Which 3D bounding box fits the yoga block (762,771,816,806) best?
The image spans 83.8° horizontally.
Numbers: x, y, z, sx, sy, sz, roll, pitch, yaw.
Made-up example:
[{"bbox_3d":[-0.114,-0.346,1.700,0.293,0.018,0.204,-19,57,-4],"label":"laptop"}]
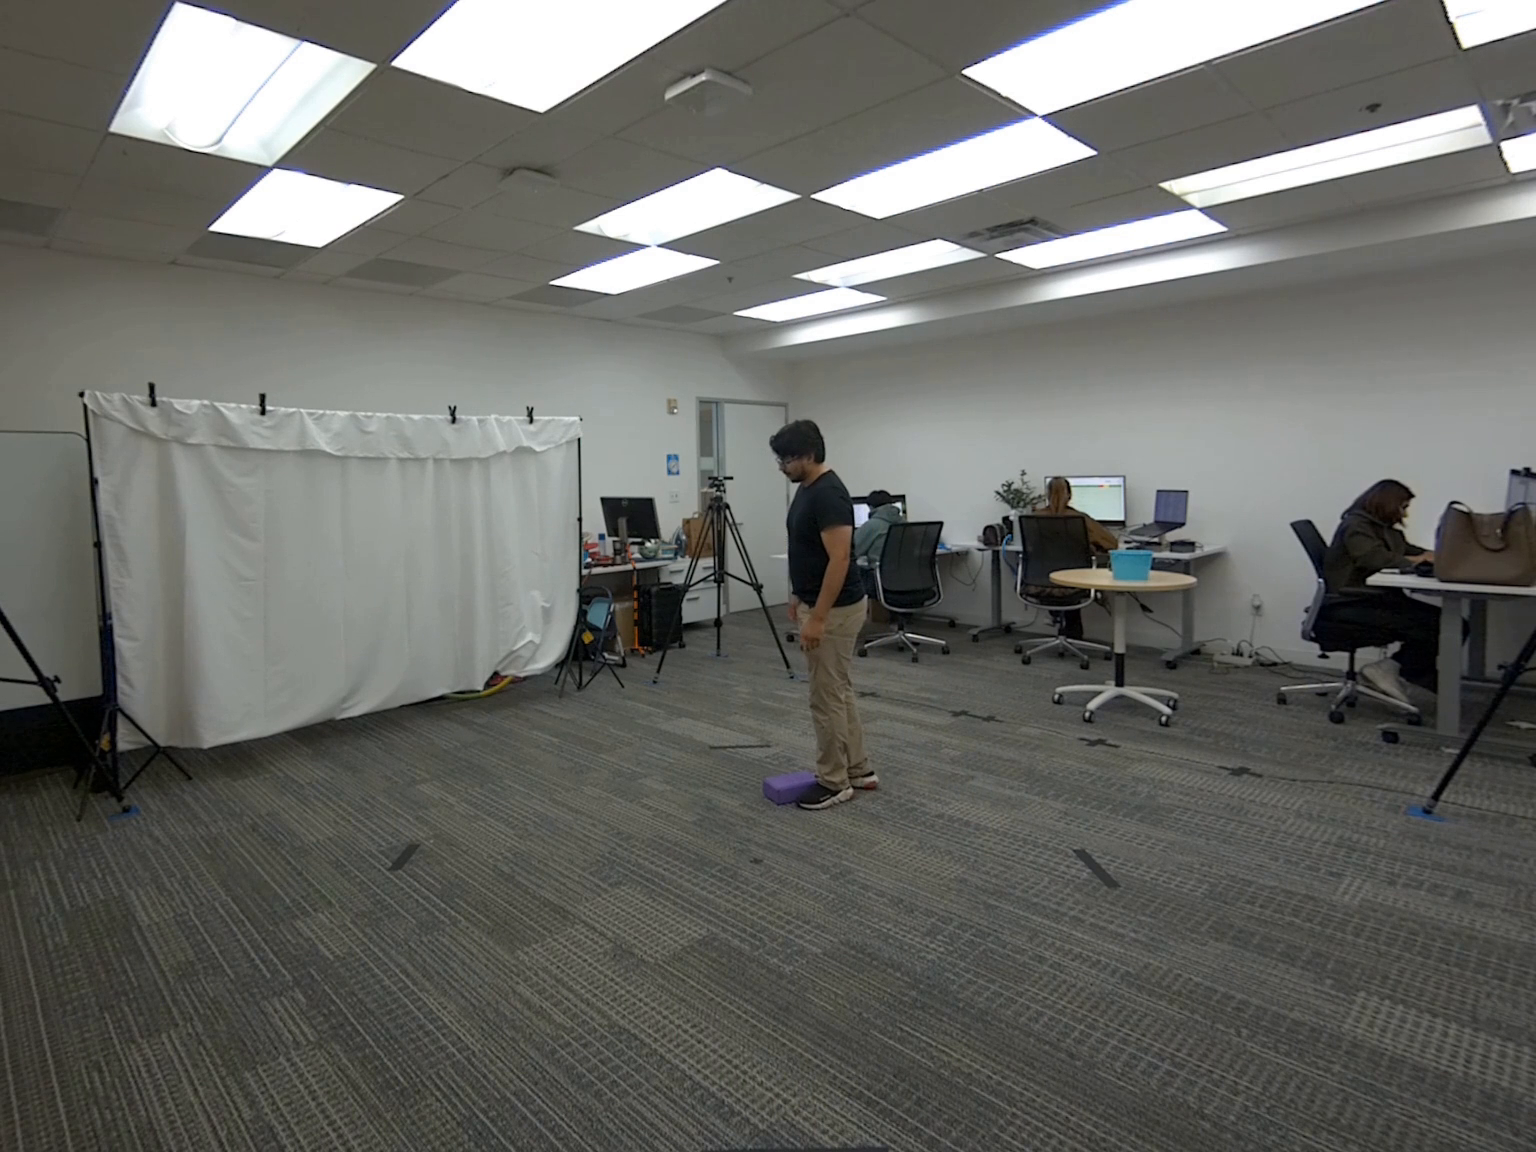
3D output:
[{"bbox_3d":[0.106,0.922,3.736,0.224,0.076,0.153,-4,7,-27],"label":"yoga block"}]
